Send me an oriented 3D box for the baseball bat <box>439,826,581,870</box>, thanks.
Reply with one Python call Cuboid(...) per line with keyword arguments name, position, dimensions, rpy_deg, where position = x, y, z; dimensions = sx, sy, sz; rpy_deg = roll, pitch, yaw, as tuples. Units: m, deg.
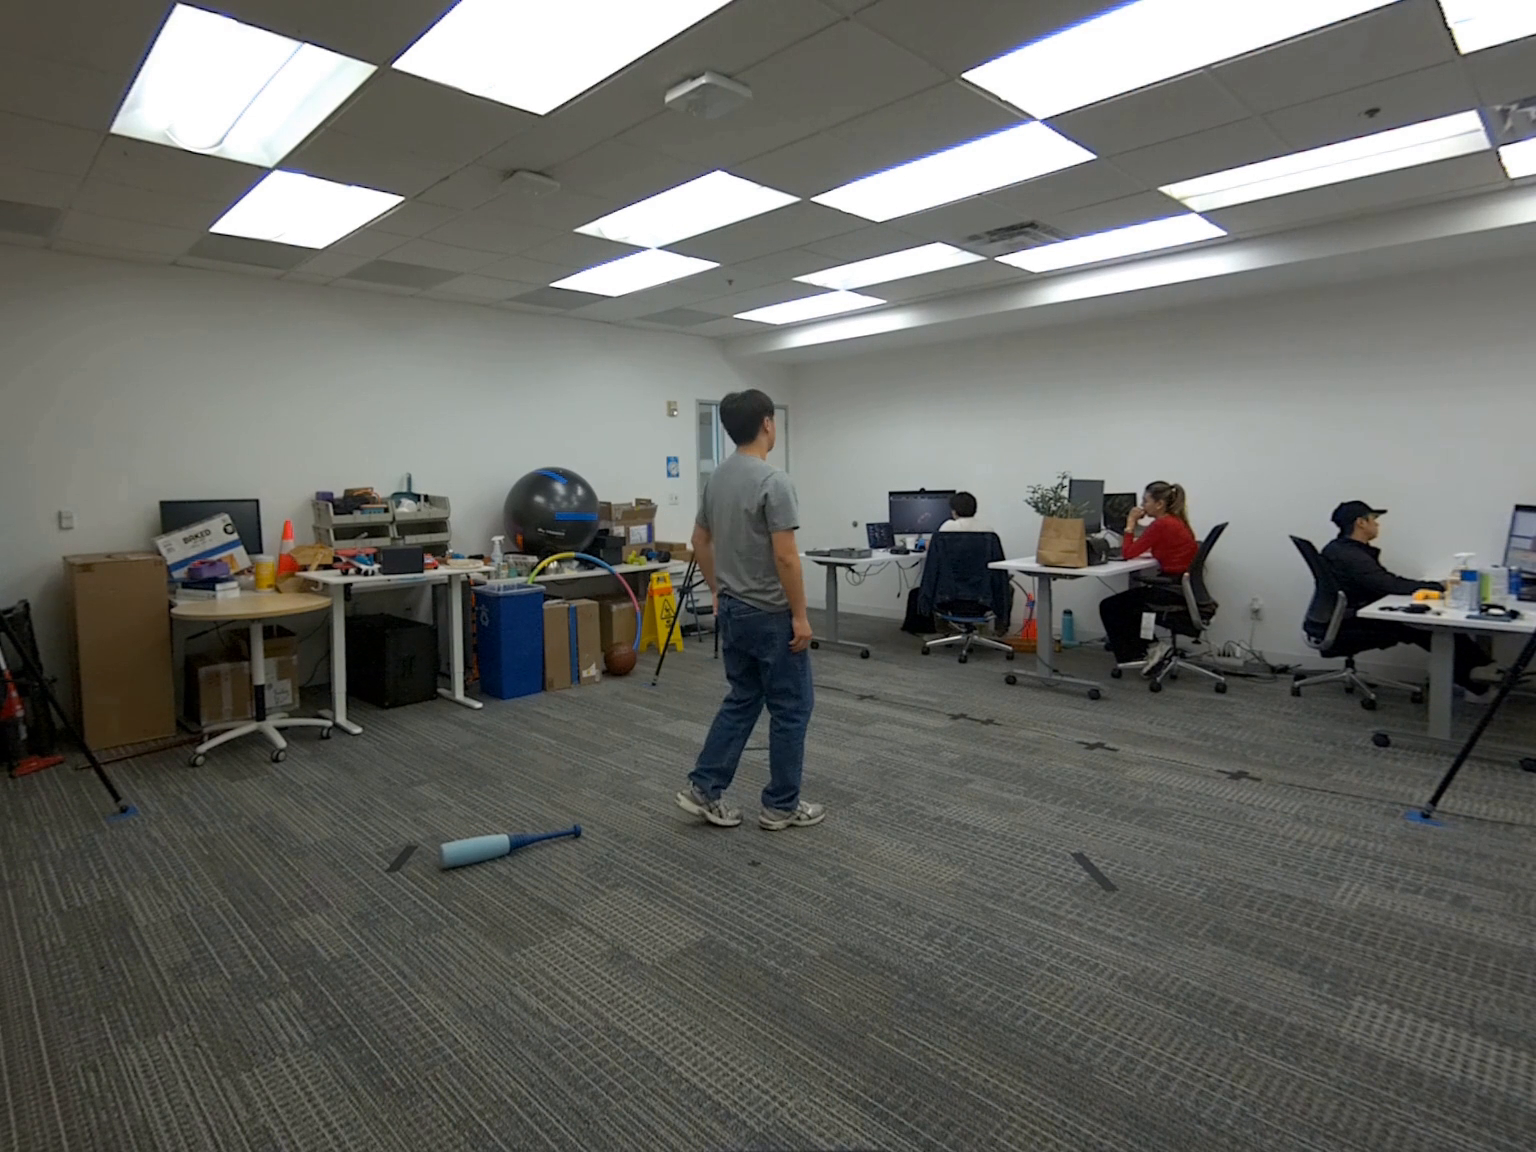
Cuboid(name="baseball bat", position=(-0.967, 1.016, 3.241), dimensions=(0.529, 0.089, 0.091), rpy_deg=(-1, 4, -31))
